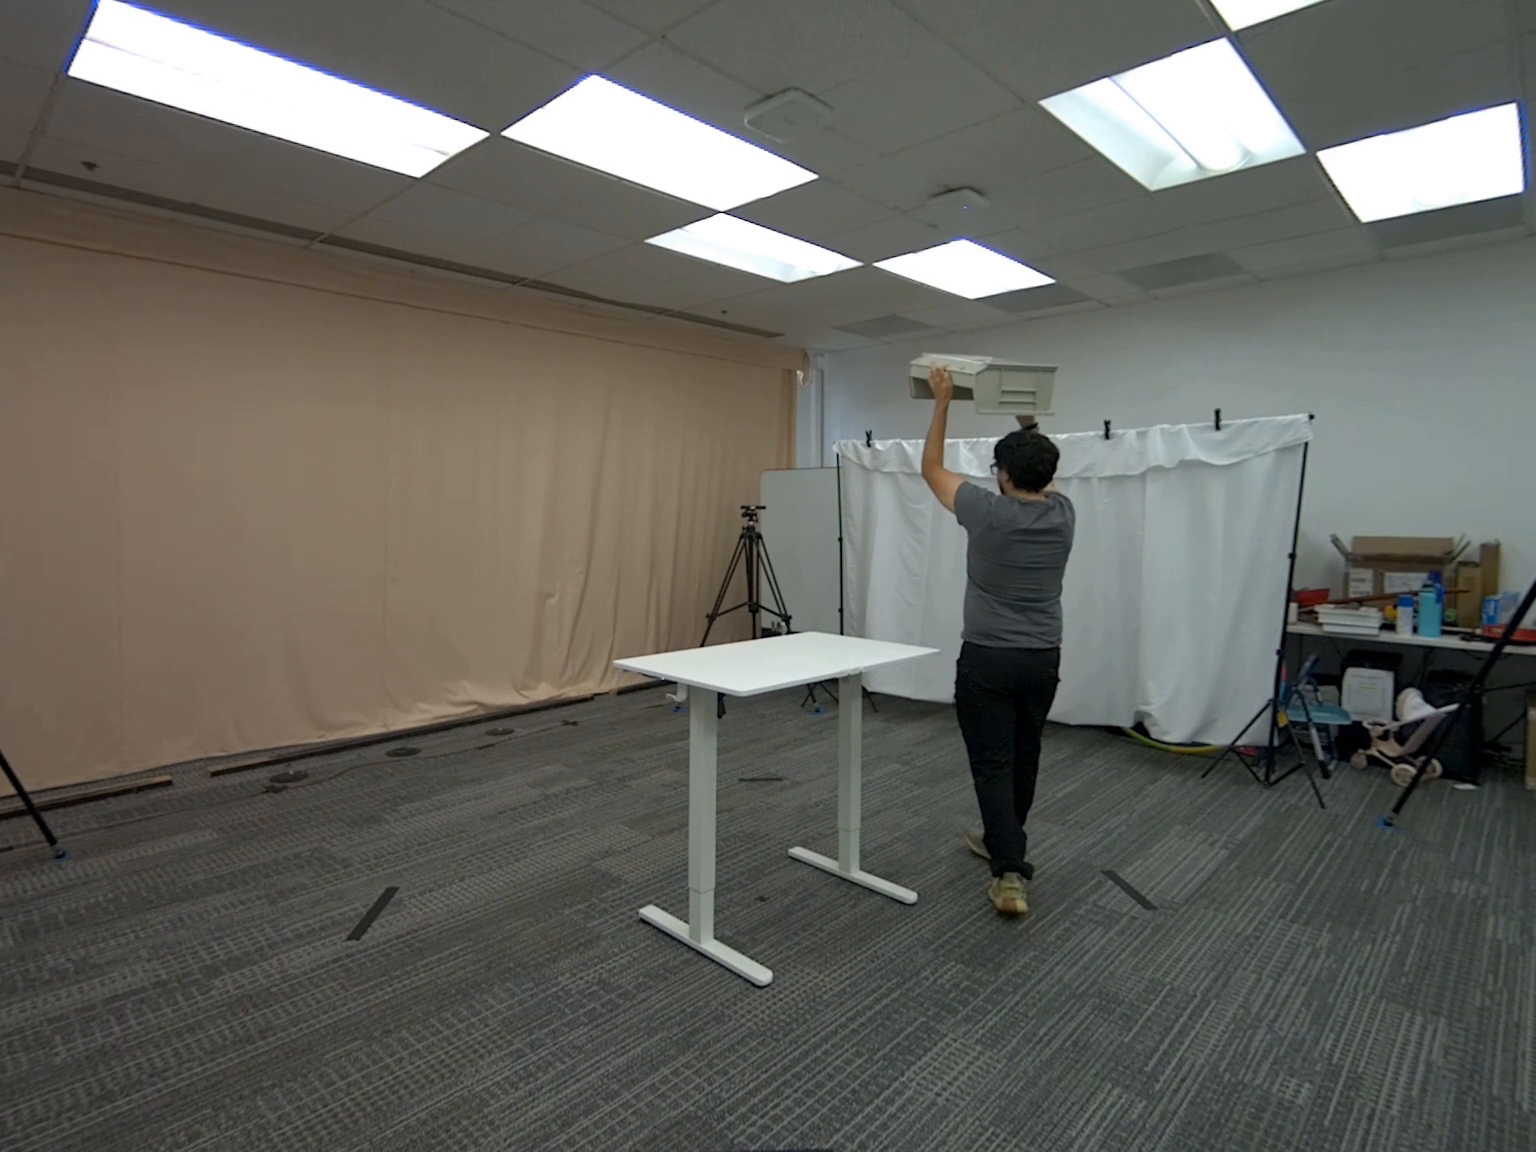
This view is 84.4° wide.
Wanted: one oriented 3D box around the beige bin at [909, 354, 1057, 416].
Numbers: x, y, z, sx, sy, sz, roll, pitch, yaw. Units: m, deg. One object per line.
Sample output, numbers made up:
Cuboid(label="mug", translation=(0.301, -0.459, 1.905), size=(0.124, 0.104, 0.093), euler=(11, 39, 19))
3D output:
Cuboid(label="beige bin", translation=(0.811, -0.729, 3.184), size=(0.369, 0.187, 0.435), euler=(-4, 19, -22))
